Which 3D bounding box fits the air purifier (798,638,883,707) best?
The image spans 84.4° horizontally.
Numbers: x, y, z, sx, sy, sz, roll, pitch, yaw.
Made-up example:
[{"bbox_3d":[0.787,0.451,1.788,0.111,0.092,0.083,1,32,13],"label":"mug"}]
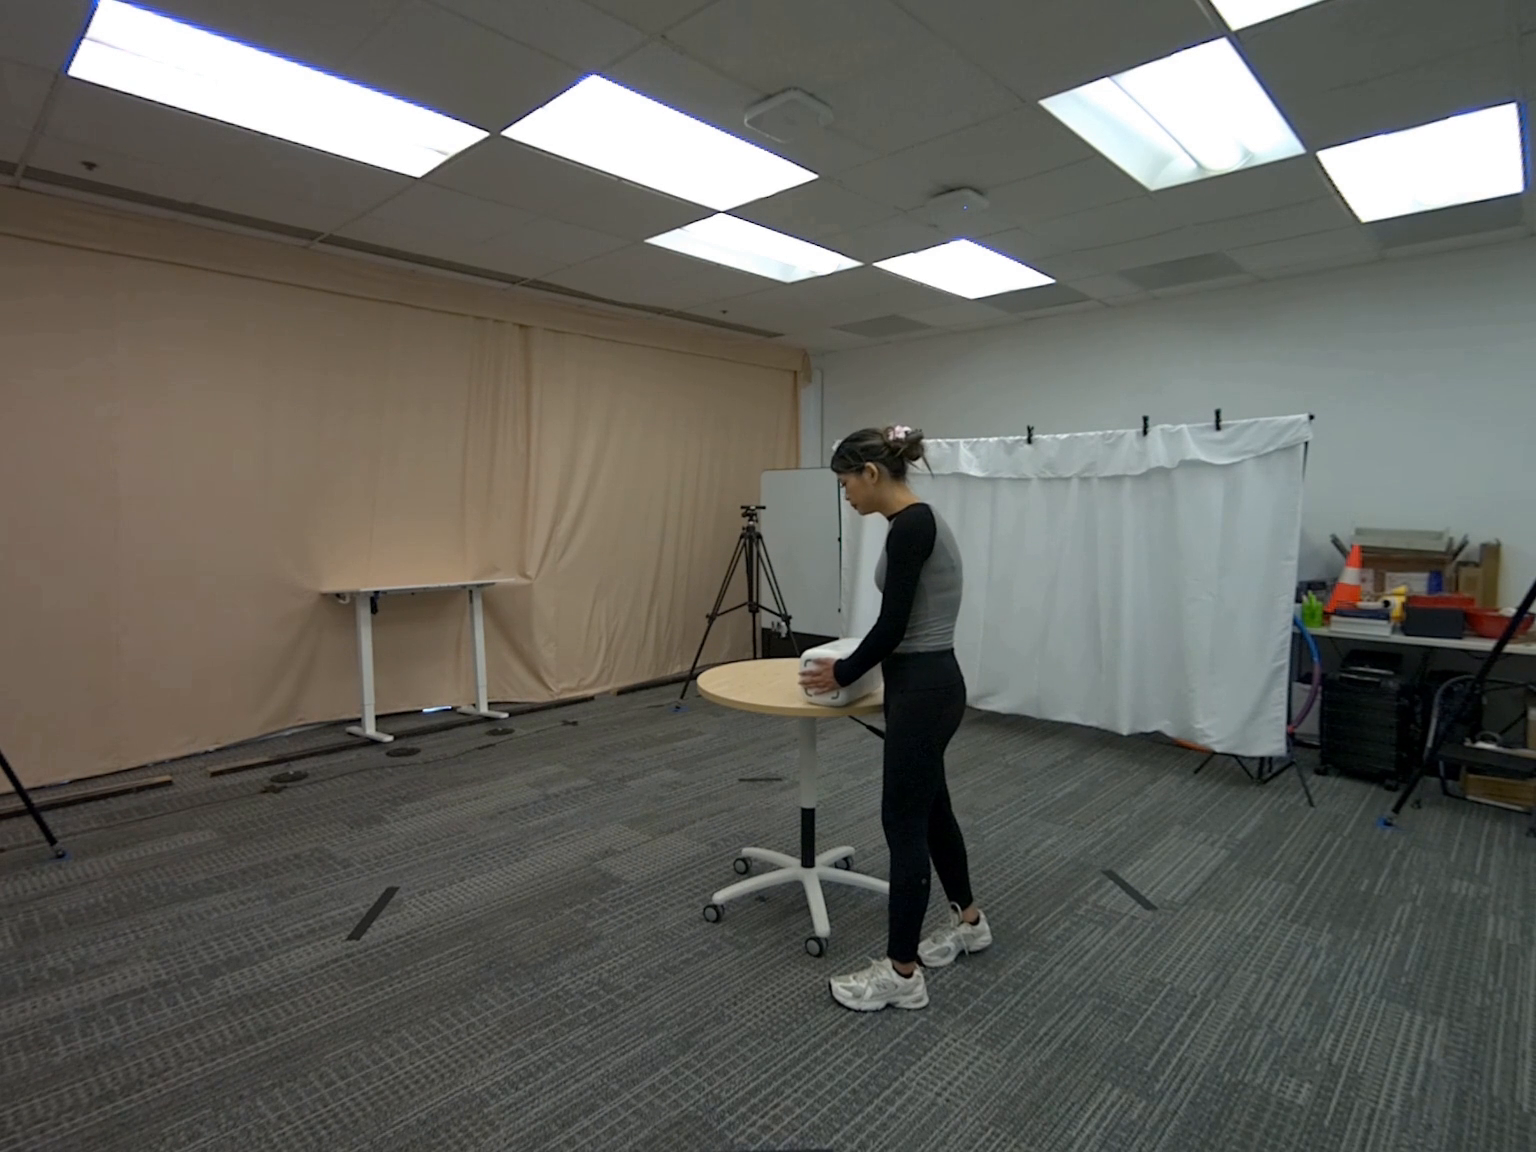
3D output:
[{"bbox_3d":[0.227,0.298,2.622,0.176,0.171,0.258,3,6,32],"label":"air purifier"}]
